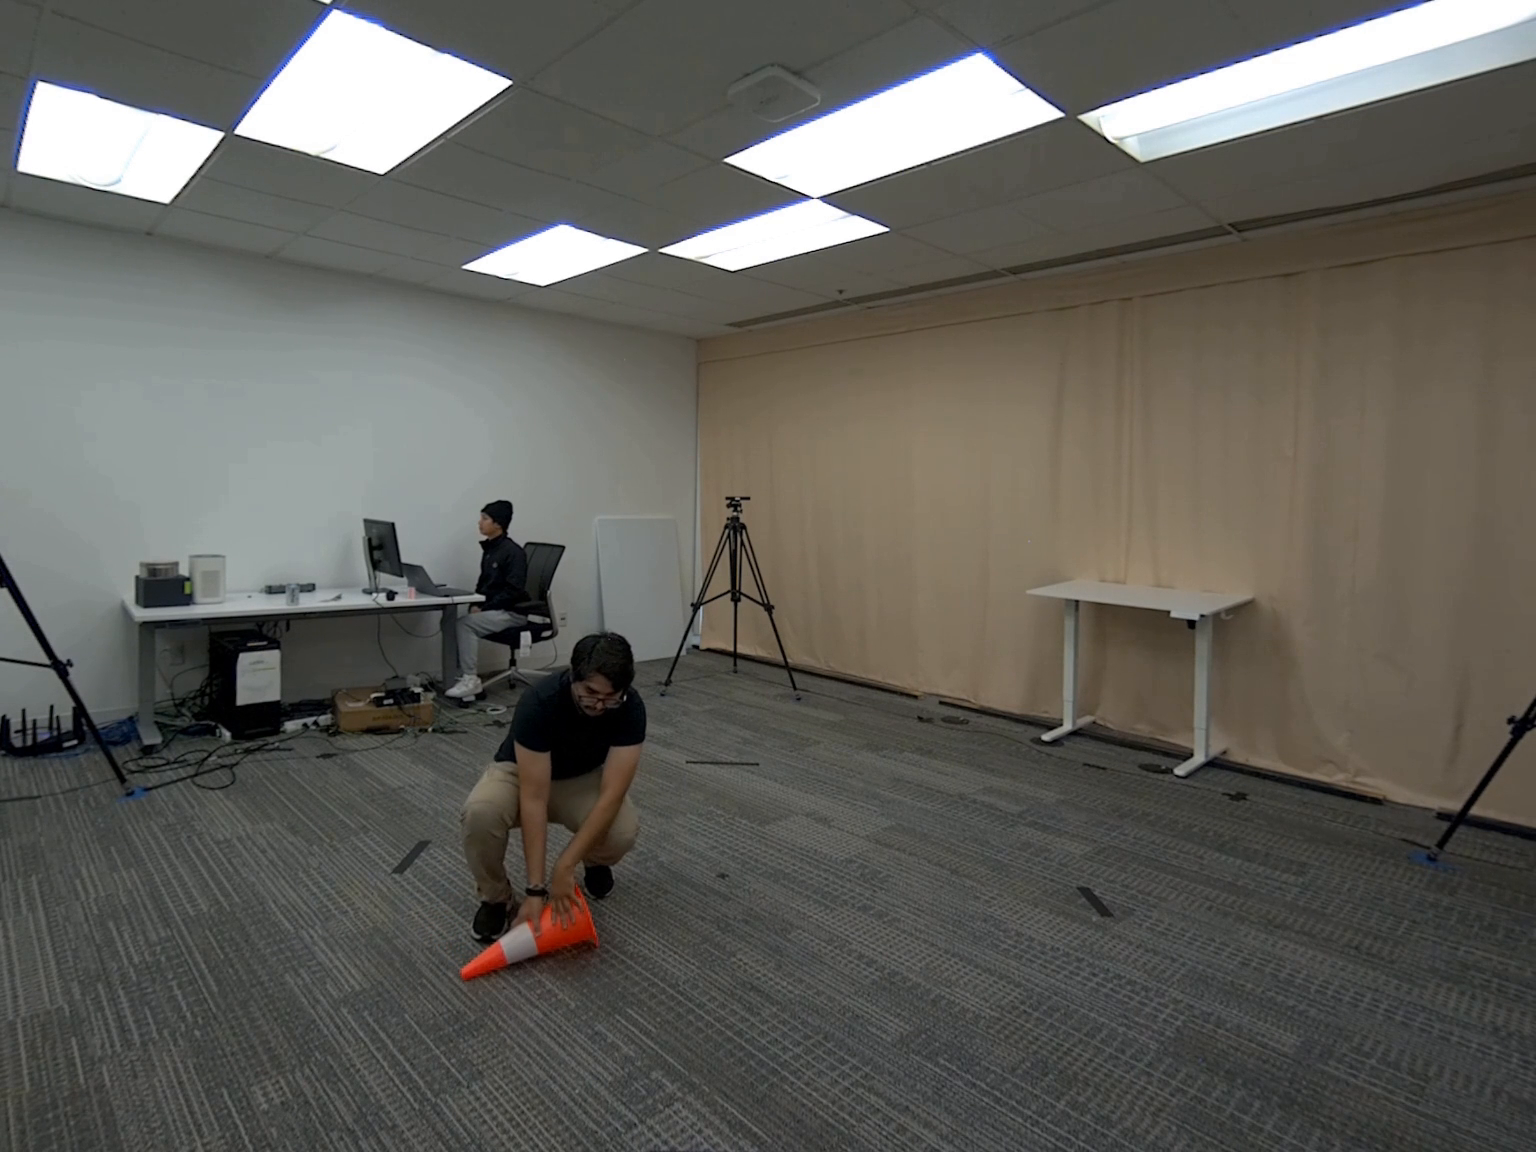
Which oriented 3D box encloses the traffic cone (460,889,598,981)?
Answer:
[{"bbox_3d":[-0.736,1.102,2.493,0.380,0.210,0.200,-24,-27,-23],"label":"traffic cone"}]
